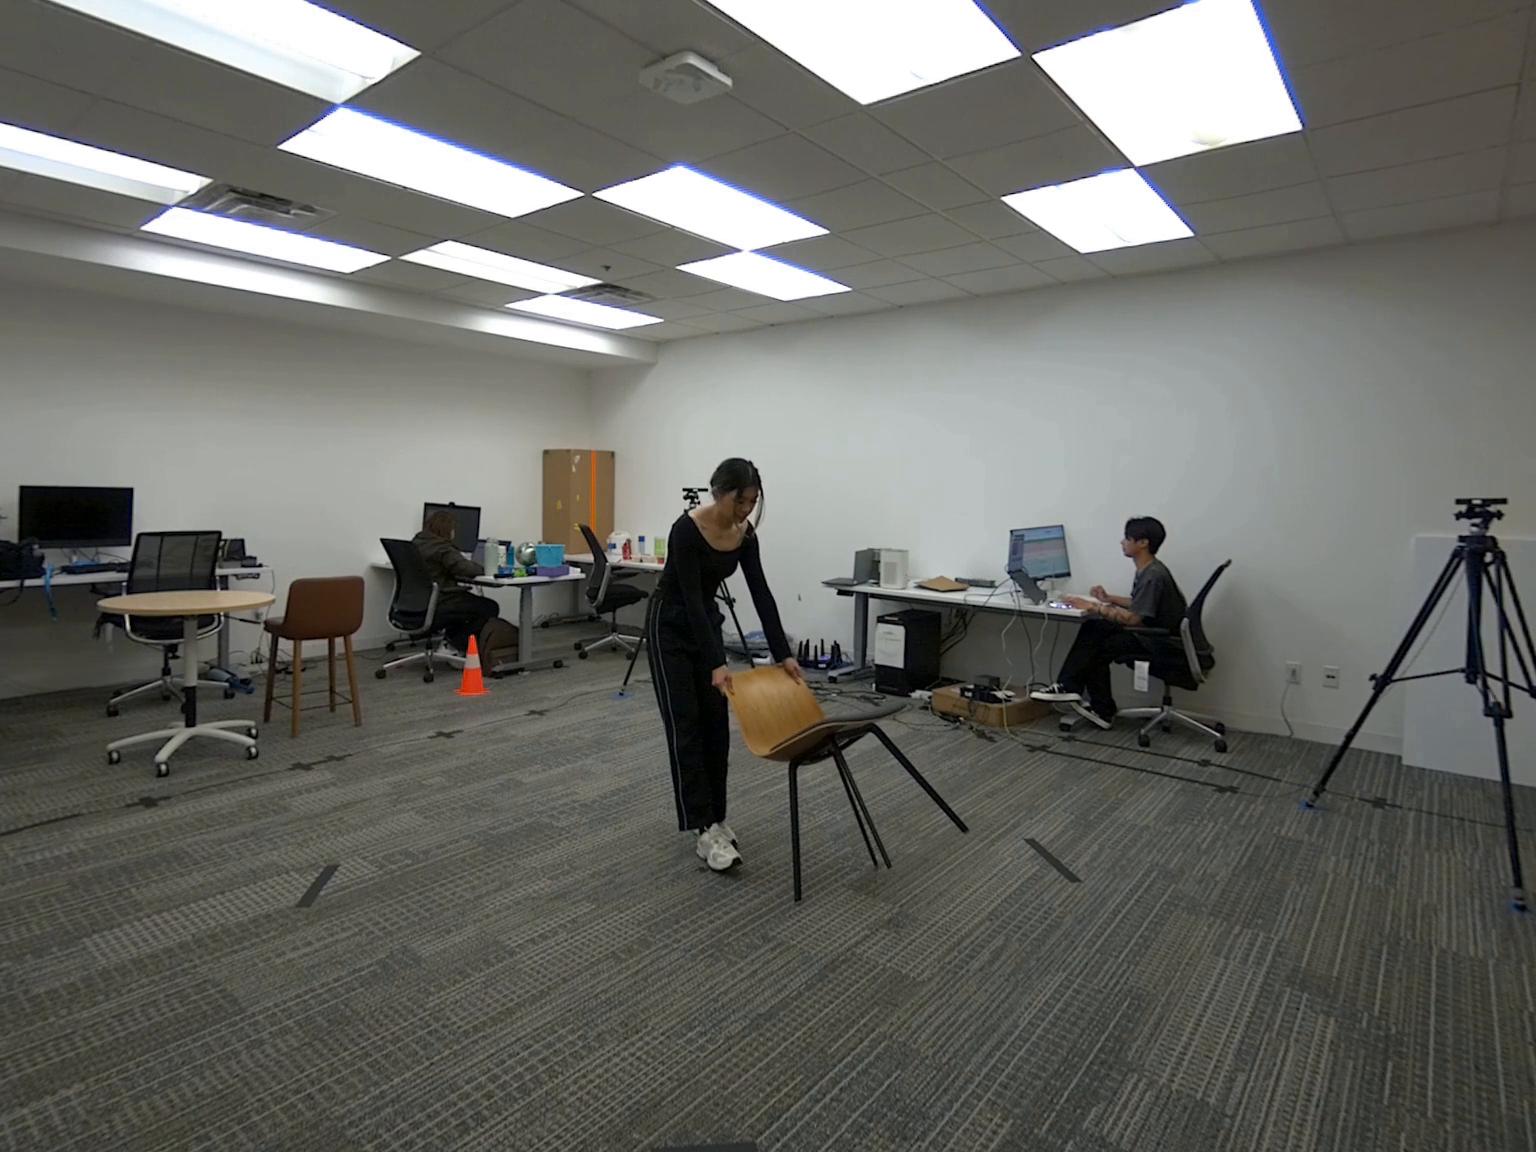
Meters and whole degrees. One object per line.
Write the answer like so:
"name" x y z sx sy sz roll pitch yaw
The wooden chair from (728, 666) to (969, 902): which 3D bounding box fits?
"wooden chair" 0.214 0.590 3.023 0.463 0.904 0.524 -2 -33 -44
